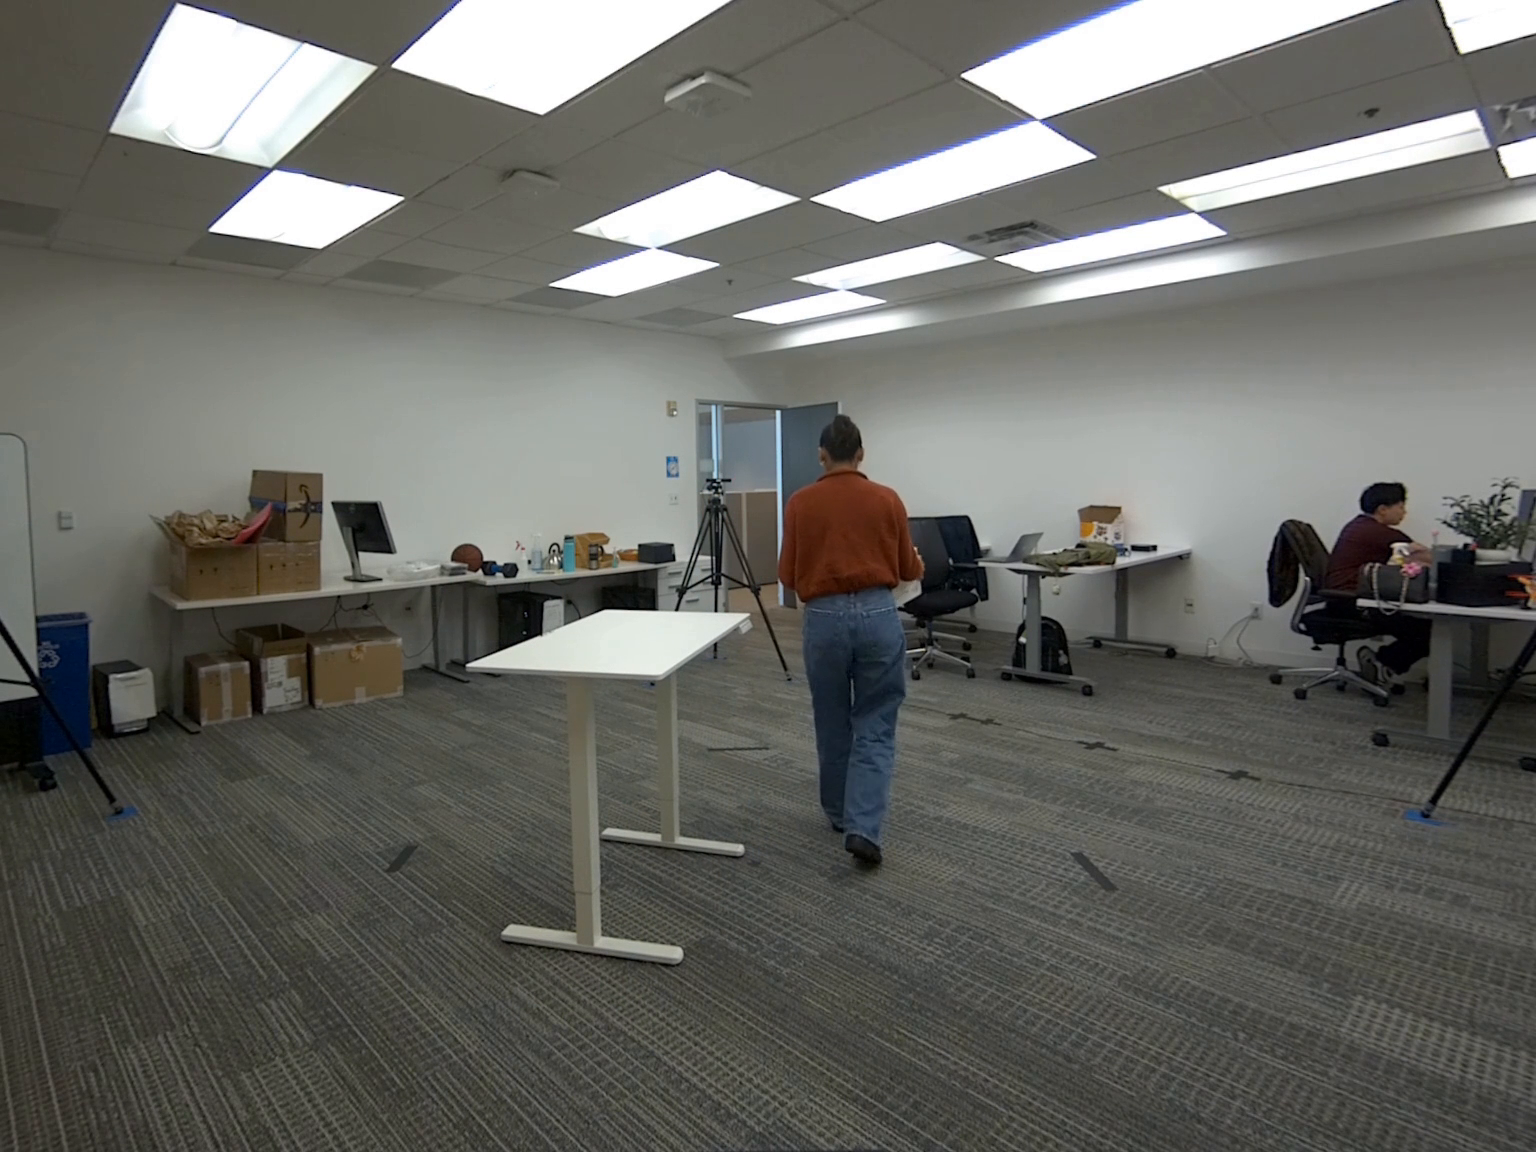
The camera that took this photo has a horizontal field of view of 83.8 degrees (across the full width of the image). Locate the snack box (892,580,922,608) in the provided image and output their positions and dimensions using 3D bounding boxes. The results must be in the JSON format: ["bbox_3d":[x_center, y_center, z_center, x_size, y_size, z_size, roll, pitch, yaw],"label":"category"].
[{"bbox_3d":[0.379,0.025,3.558,0.416,0.204,0.334,-1,11,35],"label":"snack box"}]
